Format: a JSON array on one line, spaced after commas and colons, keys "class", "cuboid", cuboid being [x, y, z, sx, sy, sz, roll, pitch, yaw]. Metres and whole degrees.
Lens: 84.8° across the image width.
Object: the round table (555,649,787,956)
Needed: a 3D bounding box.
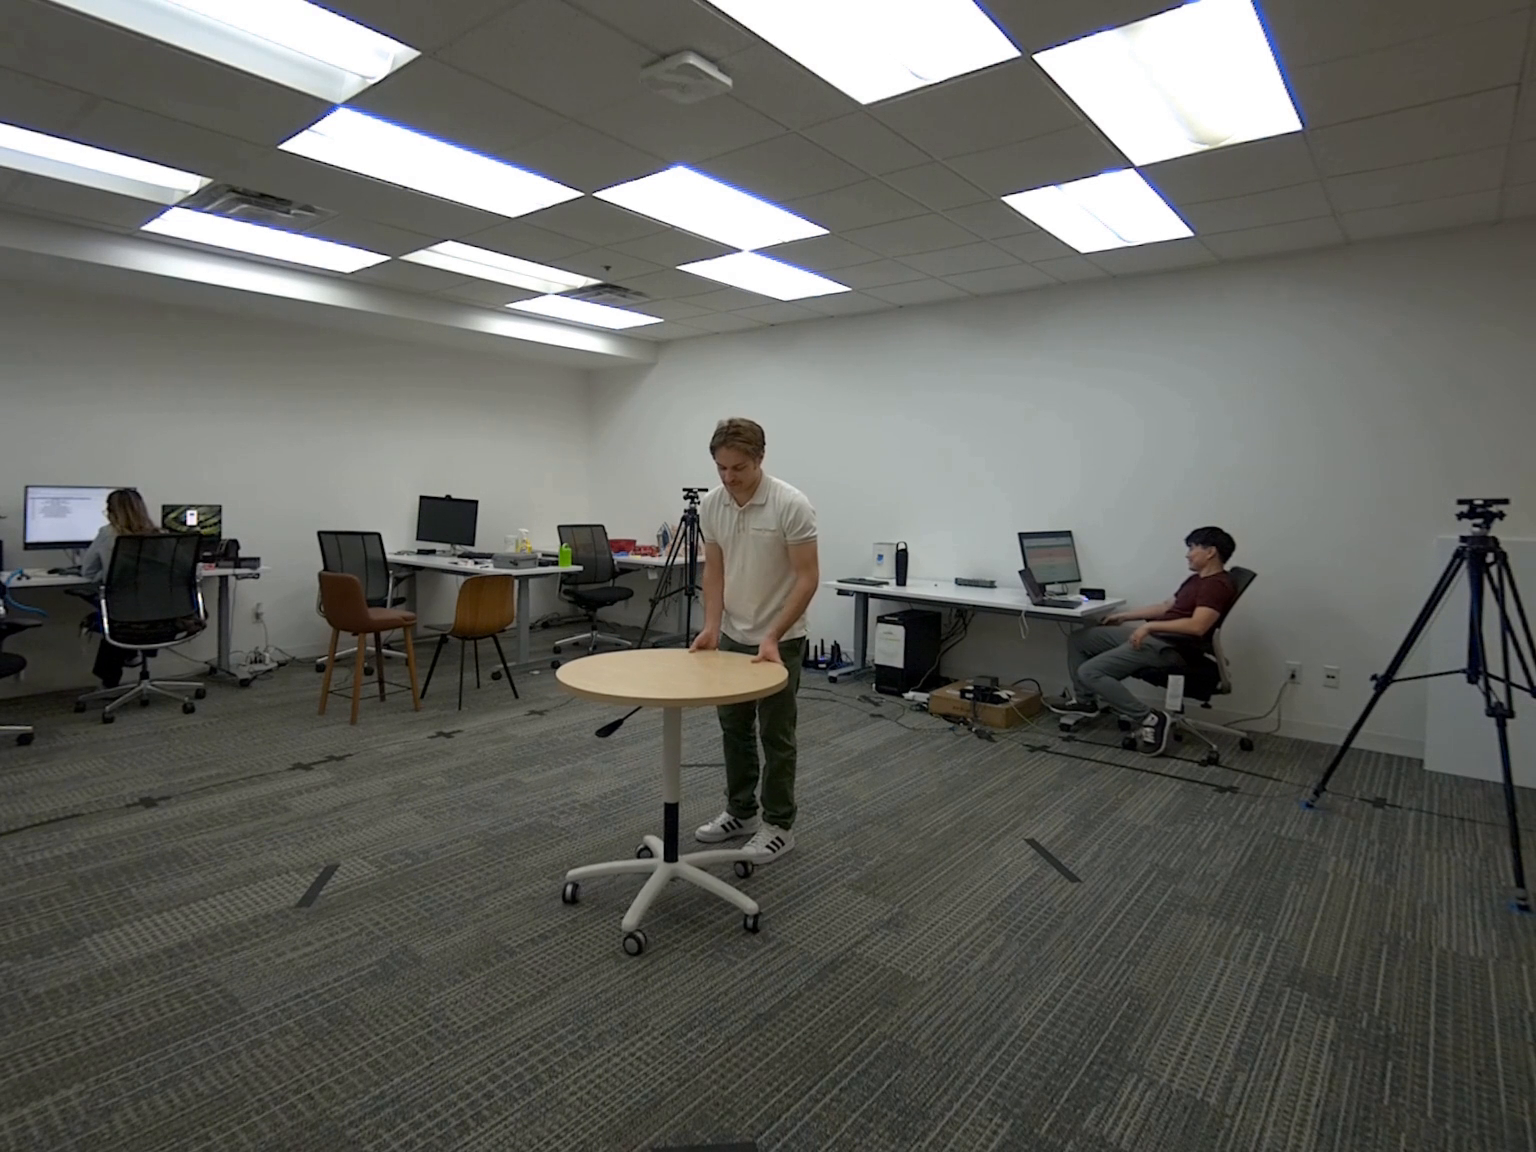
[{"class": "round table", "cuboid": [-0.333, 0.703, 2.846, 0.763, 0.791, 0.767, 1, 4, -2]}]
